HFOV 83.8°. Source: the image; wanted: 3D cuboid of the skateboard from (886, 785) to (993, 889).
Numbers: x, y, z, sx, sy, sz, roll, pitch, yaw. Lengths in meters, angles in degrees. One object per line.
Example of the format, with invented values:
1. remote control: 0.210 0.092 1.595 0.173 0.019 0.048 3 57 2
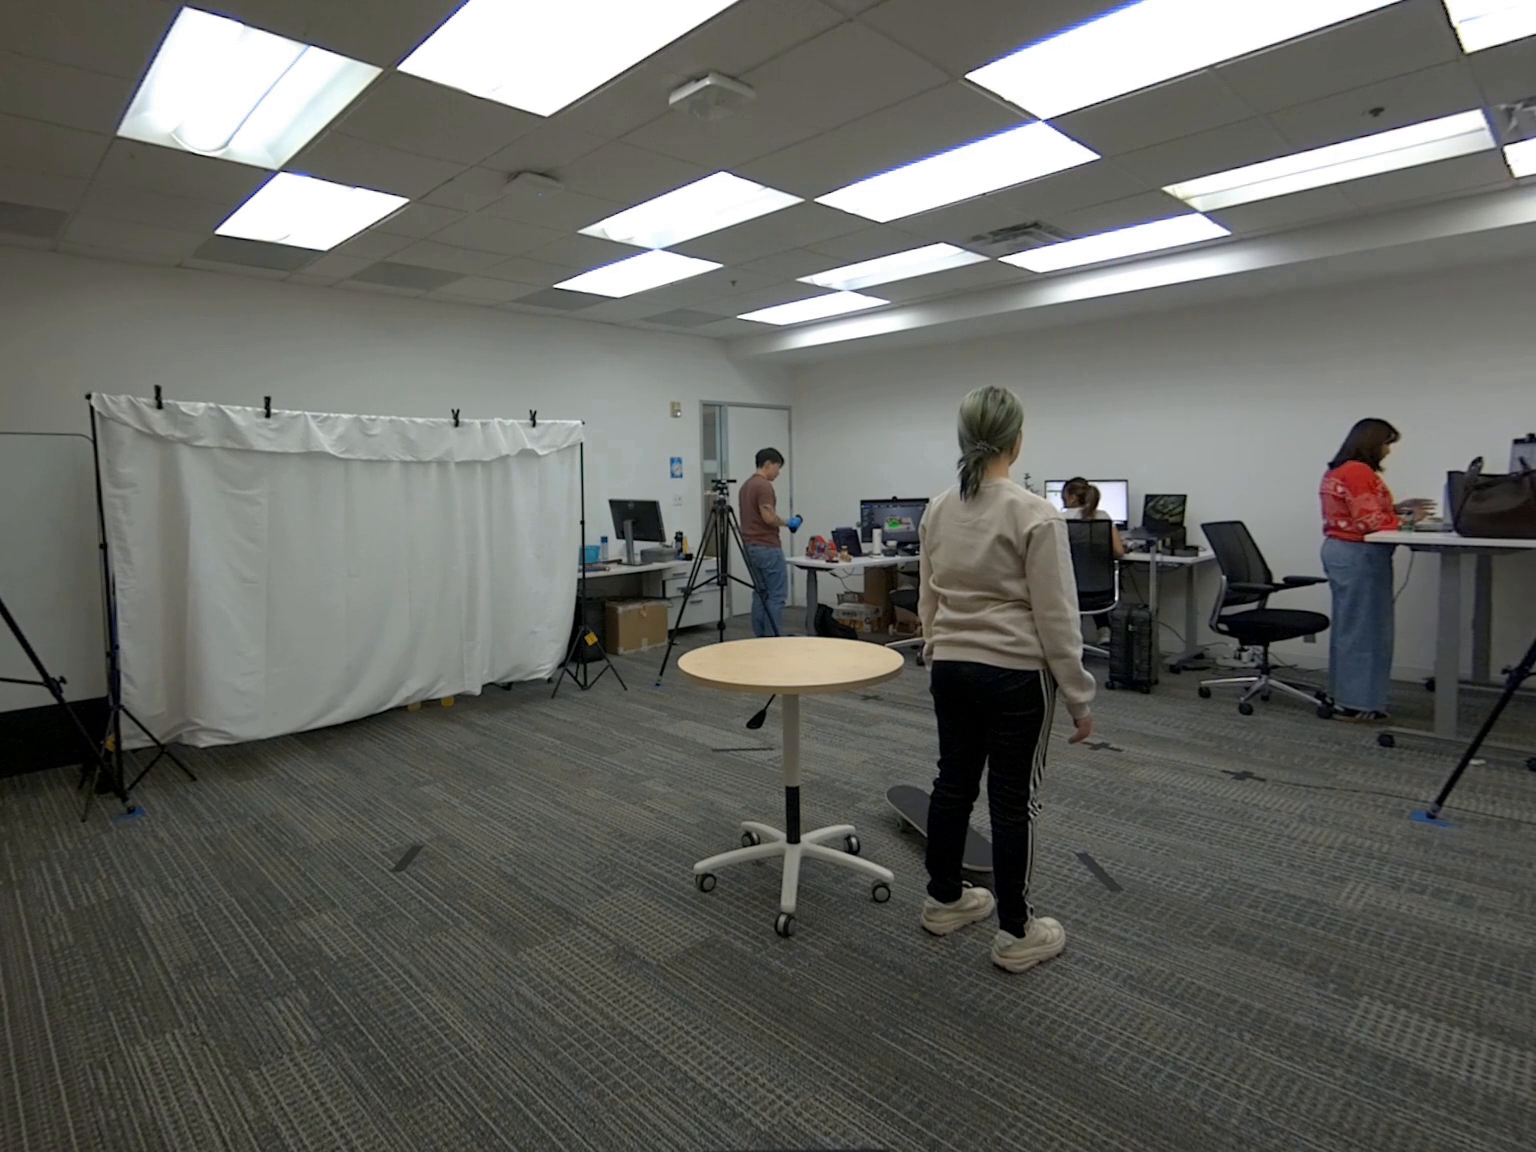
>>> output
1. skateboard: 0.645 0.957 3.187 0.191 0.110 0.800 0 7 -15
